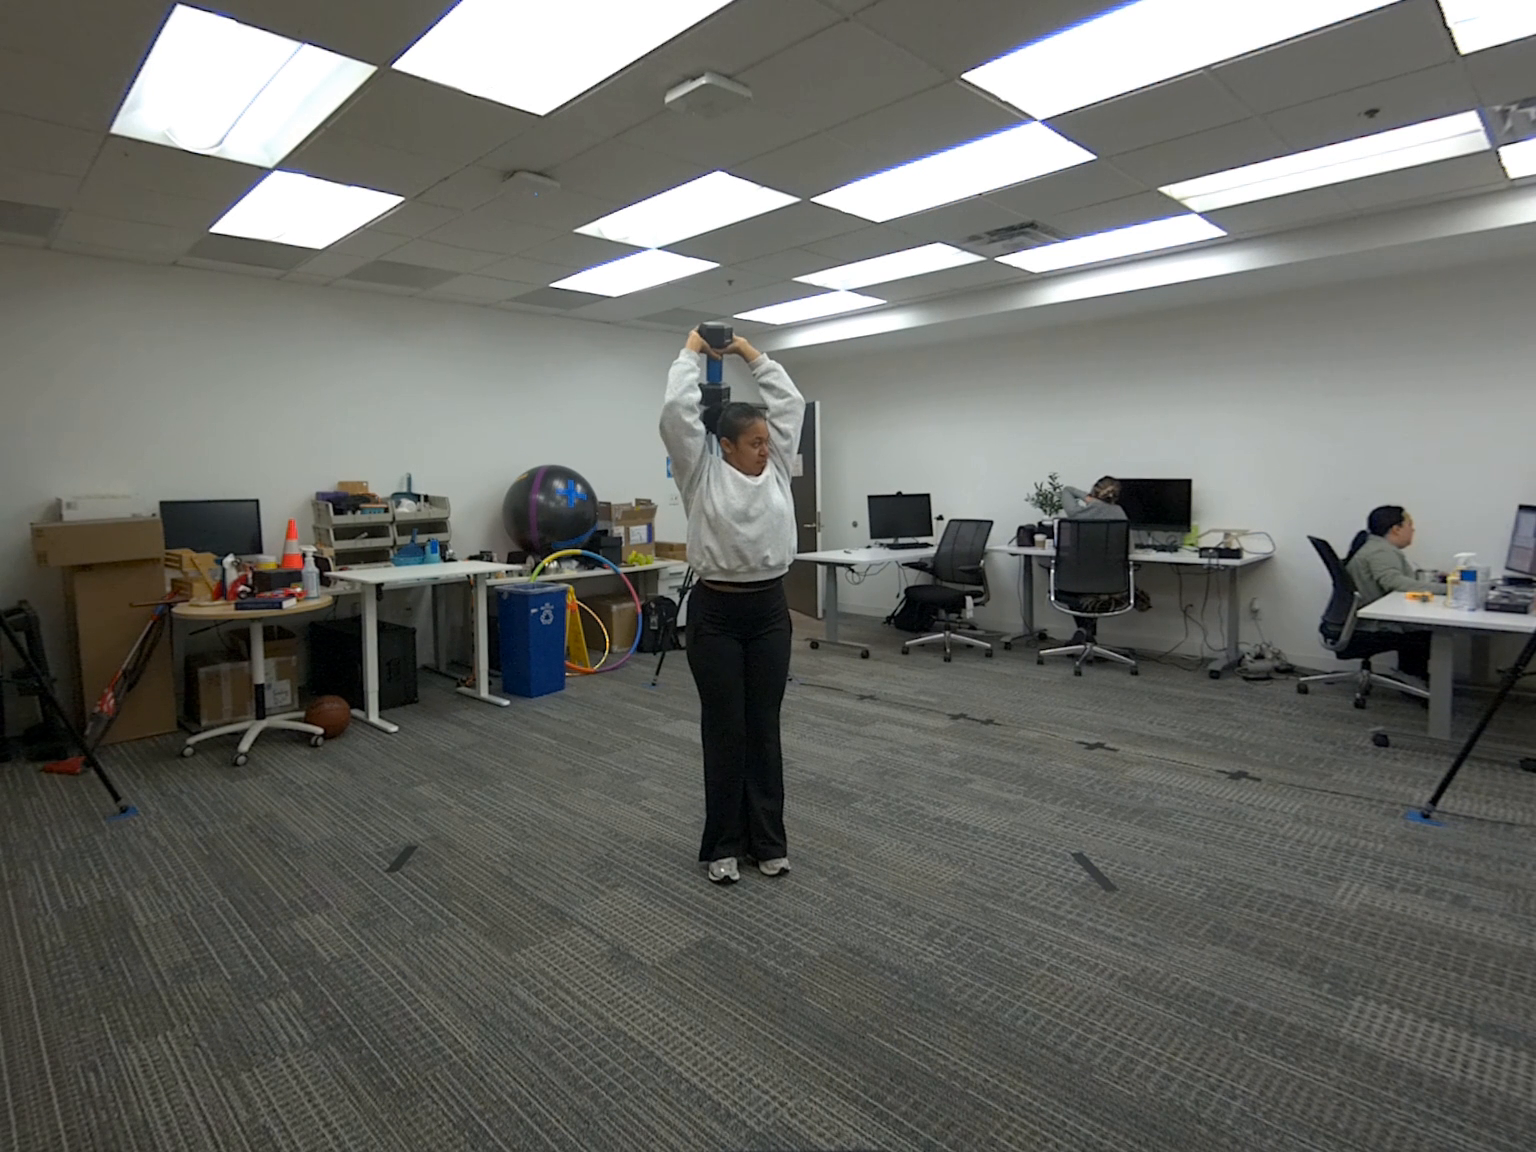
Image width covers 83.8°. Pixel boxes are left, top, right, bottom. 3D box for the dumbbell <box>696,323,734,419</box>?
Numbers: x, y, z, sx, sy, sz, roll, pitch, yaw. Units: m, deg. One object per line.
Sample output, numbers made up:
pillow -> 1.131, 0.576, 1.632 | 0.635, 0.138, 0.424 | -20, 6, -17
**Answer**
dumbbell -> -0.186, -0.758, 3.080 | 0.112, 0.289, 0.122 | 13, 23, 25
